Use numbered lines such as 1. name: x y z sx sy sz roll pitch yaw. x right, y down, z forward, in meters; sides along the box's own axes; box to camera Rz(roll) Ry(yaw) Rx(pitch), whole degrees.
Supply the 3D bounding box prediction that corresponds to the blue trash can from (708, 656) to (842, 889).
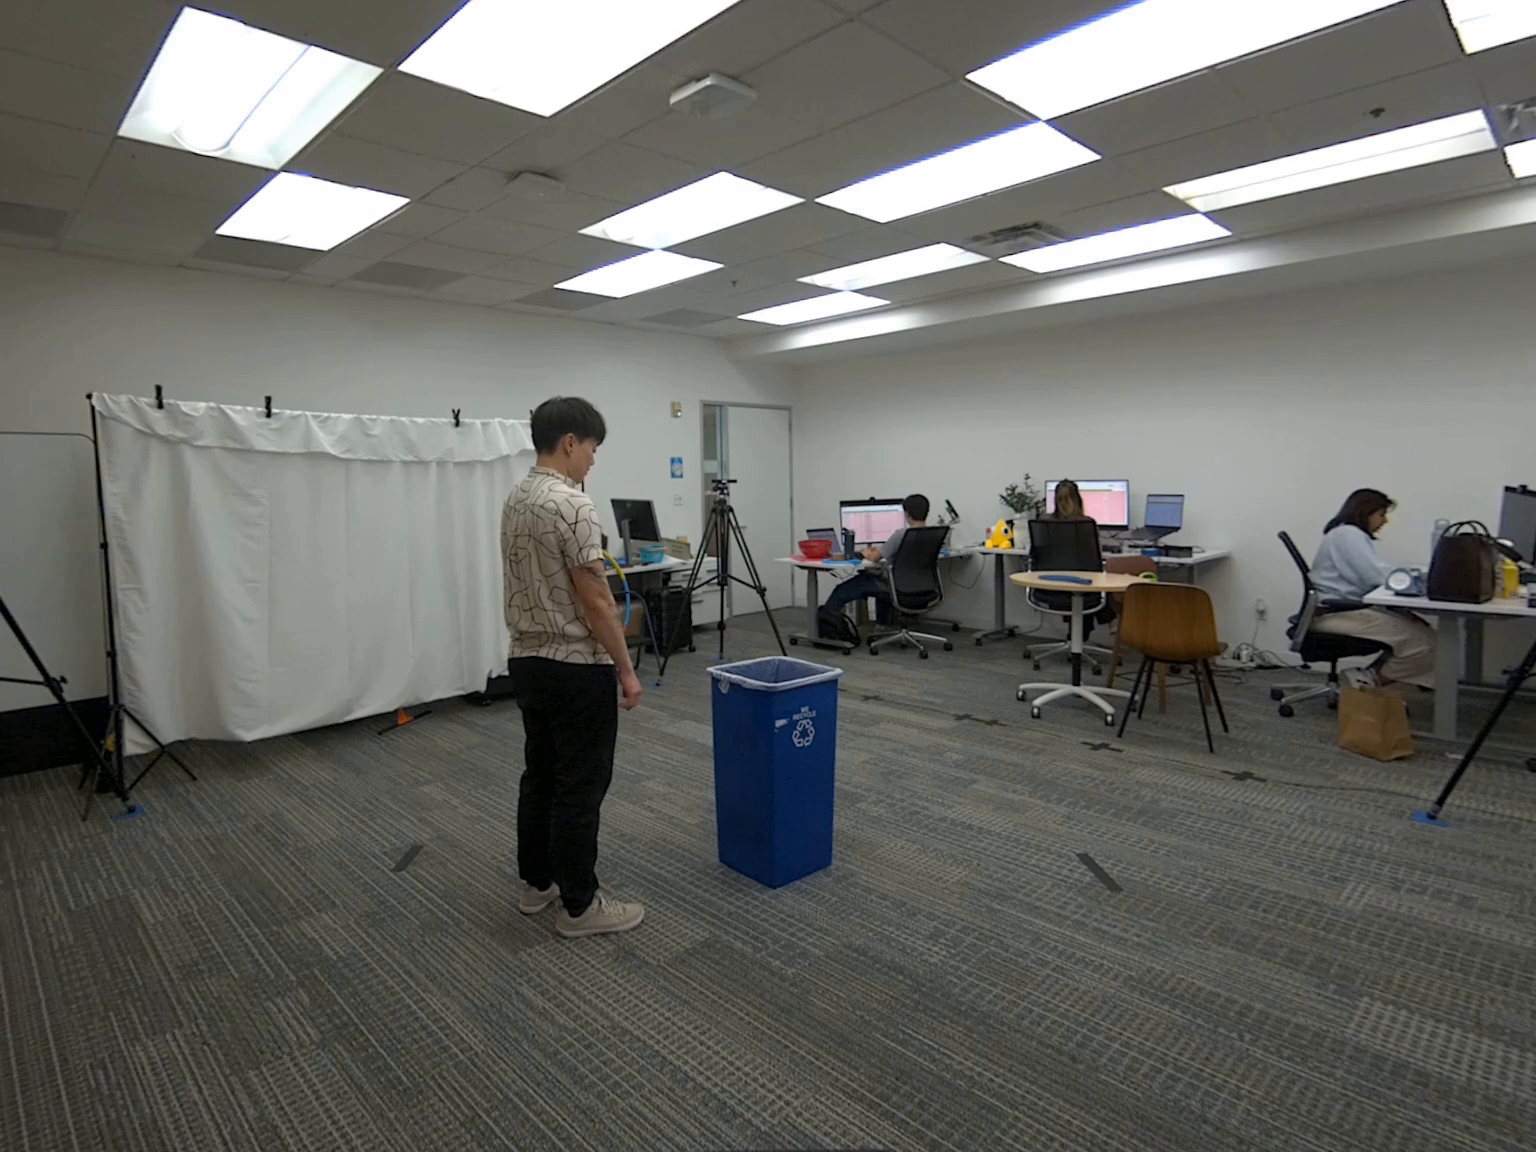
1. blue trash can: 0.034 0.690 3.093 0.368 0.711 0.385 -4 5 -42
